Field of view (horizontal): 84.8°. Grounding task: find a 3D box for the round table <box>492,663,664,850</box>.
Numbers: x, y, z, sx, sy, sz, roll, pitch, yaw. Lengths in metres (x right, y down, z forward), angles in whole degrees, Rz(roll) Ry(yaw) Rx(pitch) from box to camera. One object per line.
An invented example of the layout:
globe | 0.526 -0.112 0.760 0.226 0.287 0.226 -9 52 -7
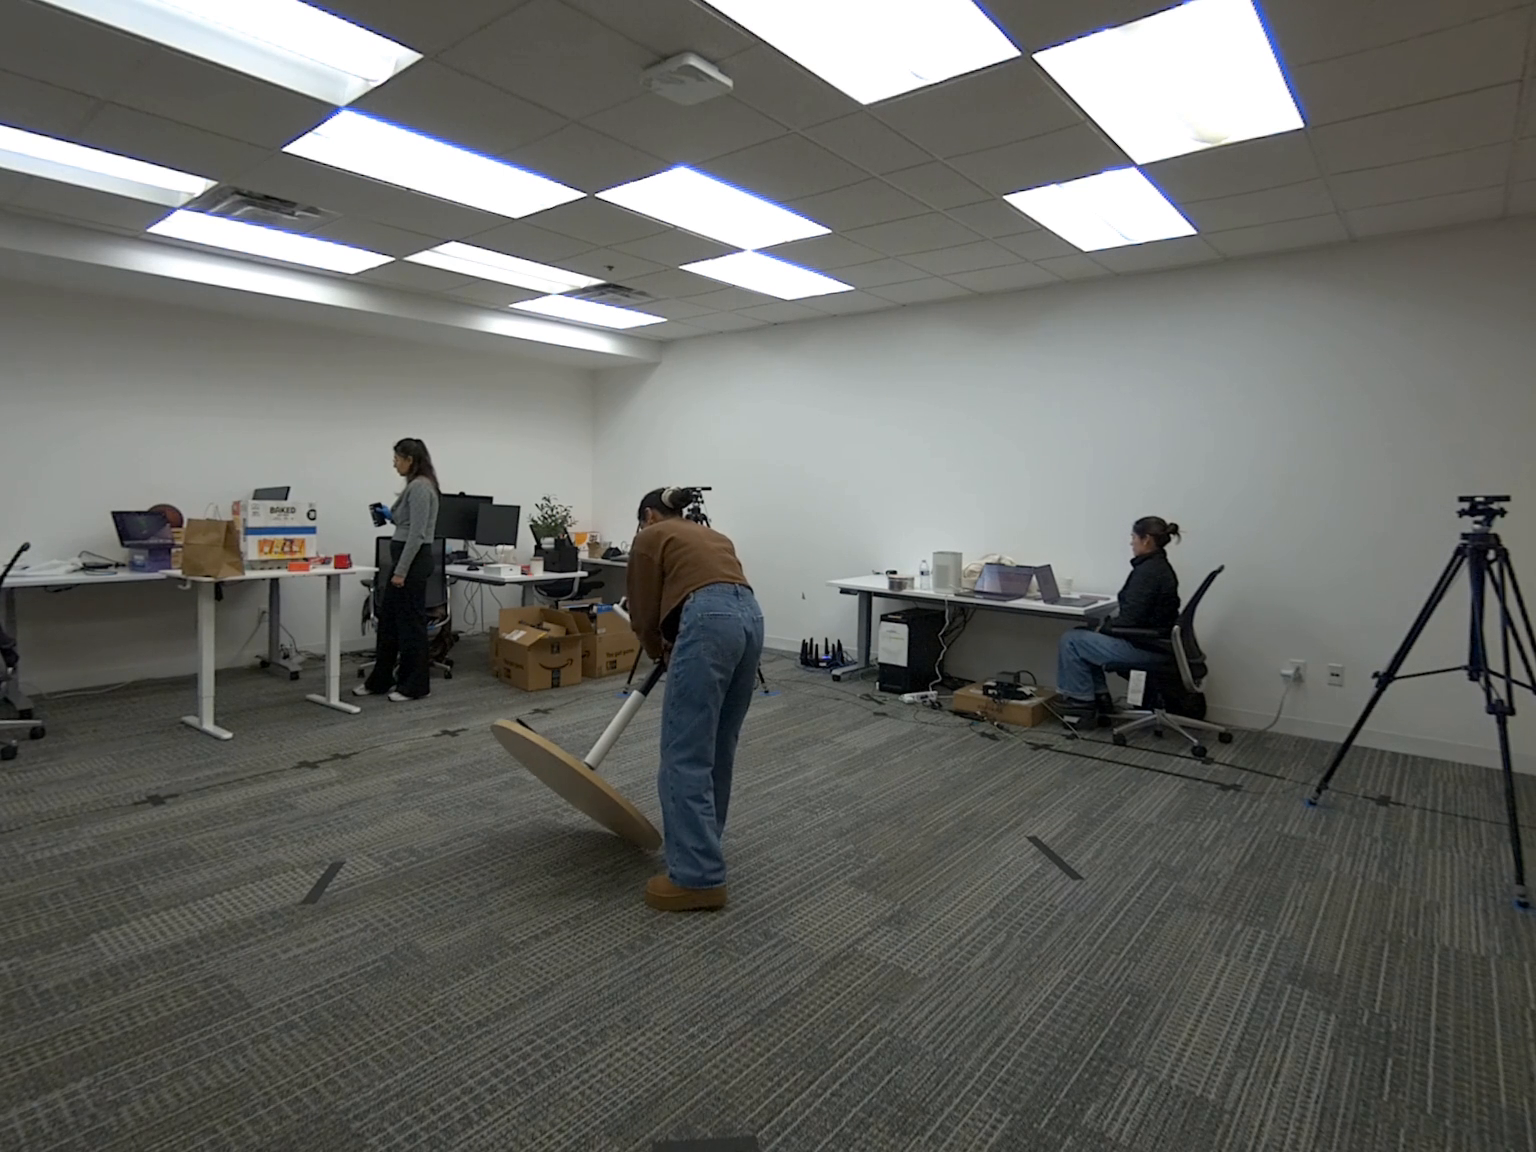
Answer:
round table | -0.547 0.490 3.323 0.790 0.797 0.736 5 -40 44
